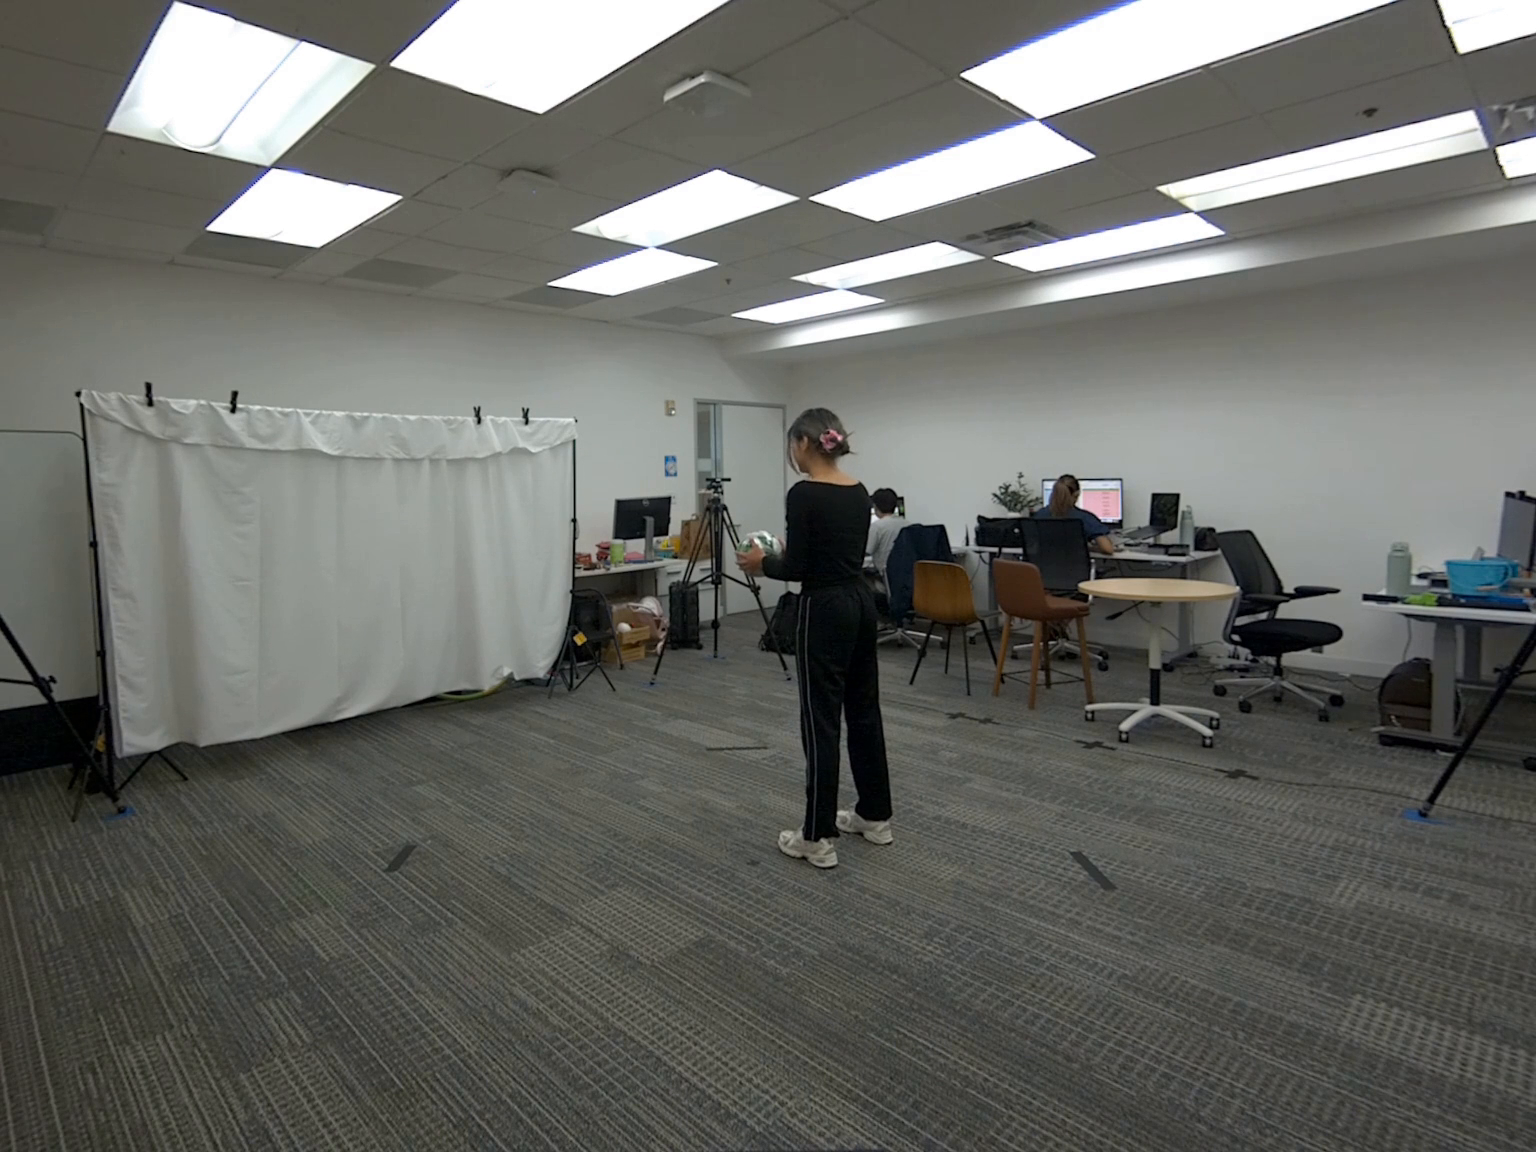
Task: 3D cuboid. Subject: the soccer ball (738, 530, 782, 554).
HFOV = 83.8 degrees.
[{"bbox_3d":[-0.021,-0.087,3.422,0.187,0.187,0.188,-1,5,-2],"label":"soccer ball"}]
